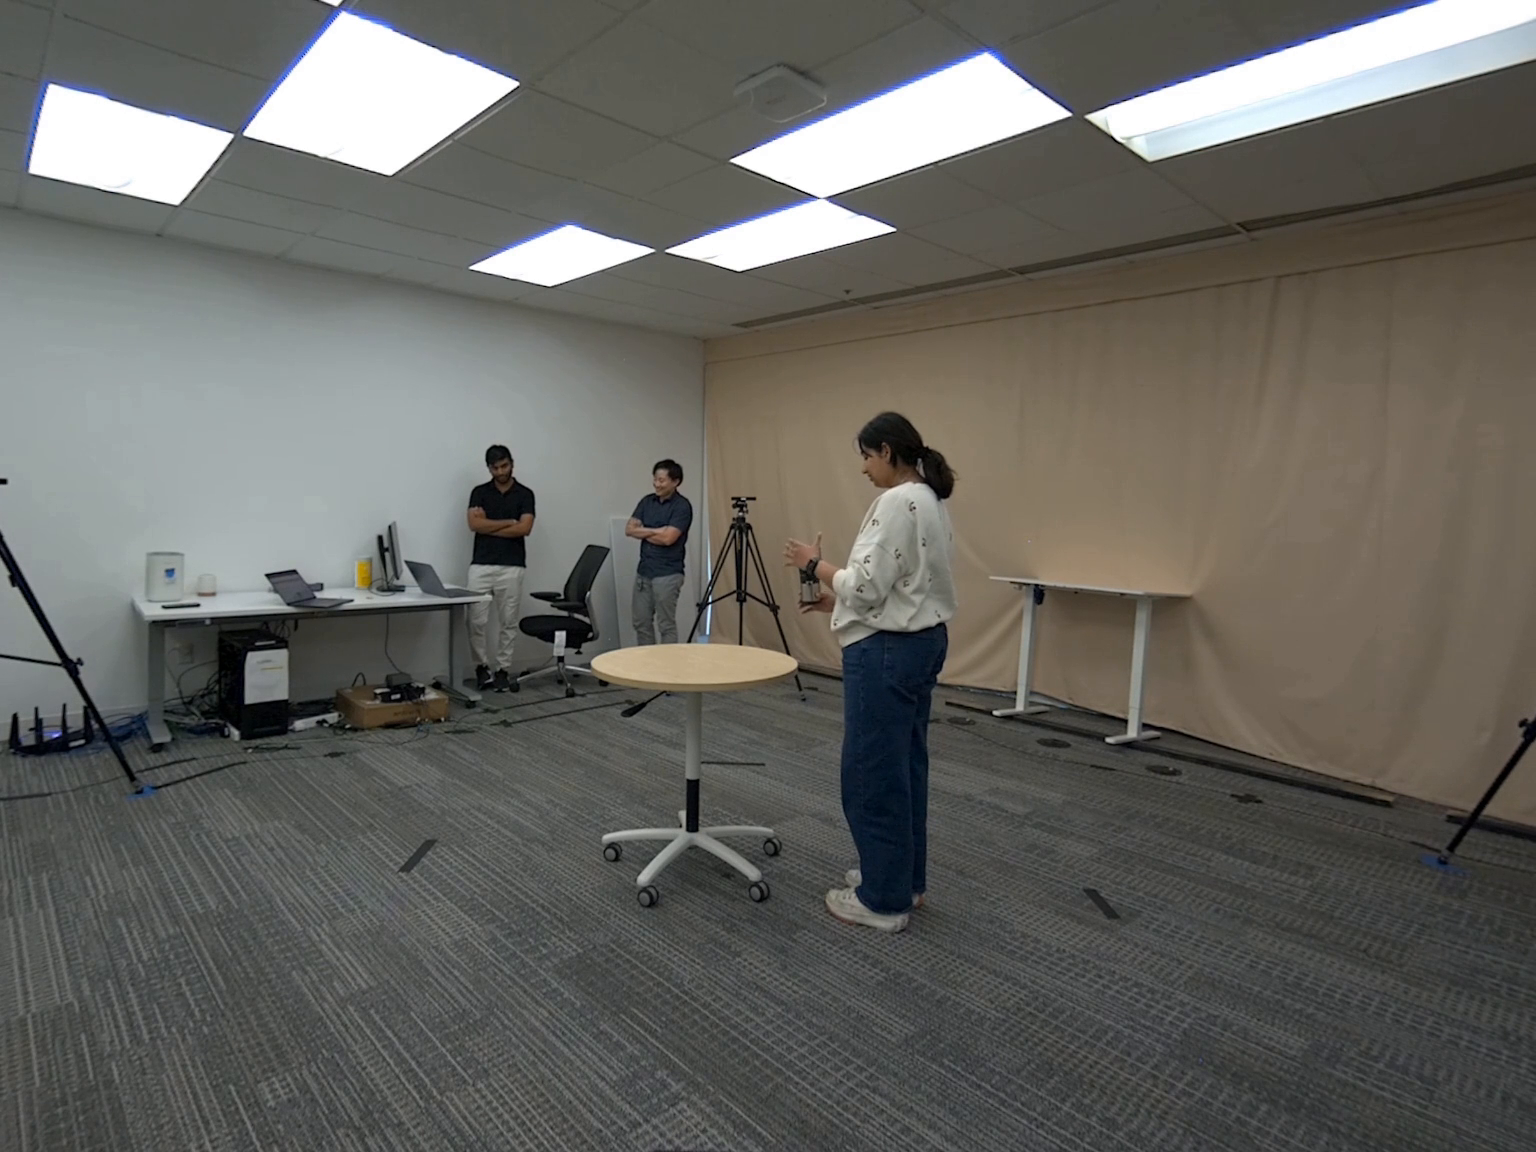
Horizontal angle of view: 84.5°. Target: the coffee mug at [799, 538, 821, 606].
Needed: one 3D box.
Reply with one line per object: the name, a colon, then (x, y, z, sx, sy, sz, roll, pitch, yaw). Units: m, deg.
coffee mug: (0.137, 0.001, 2.949, 0.090, 0.203, 0.119, 2, 2, 40)
